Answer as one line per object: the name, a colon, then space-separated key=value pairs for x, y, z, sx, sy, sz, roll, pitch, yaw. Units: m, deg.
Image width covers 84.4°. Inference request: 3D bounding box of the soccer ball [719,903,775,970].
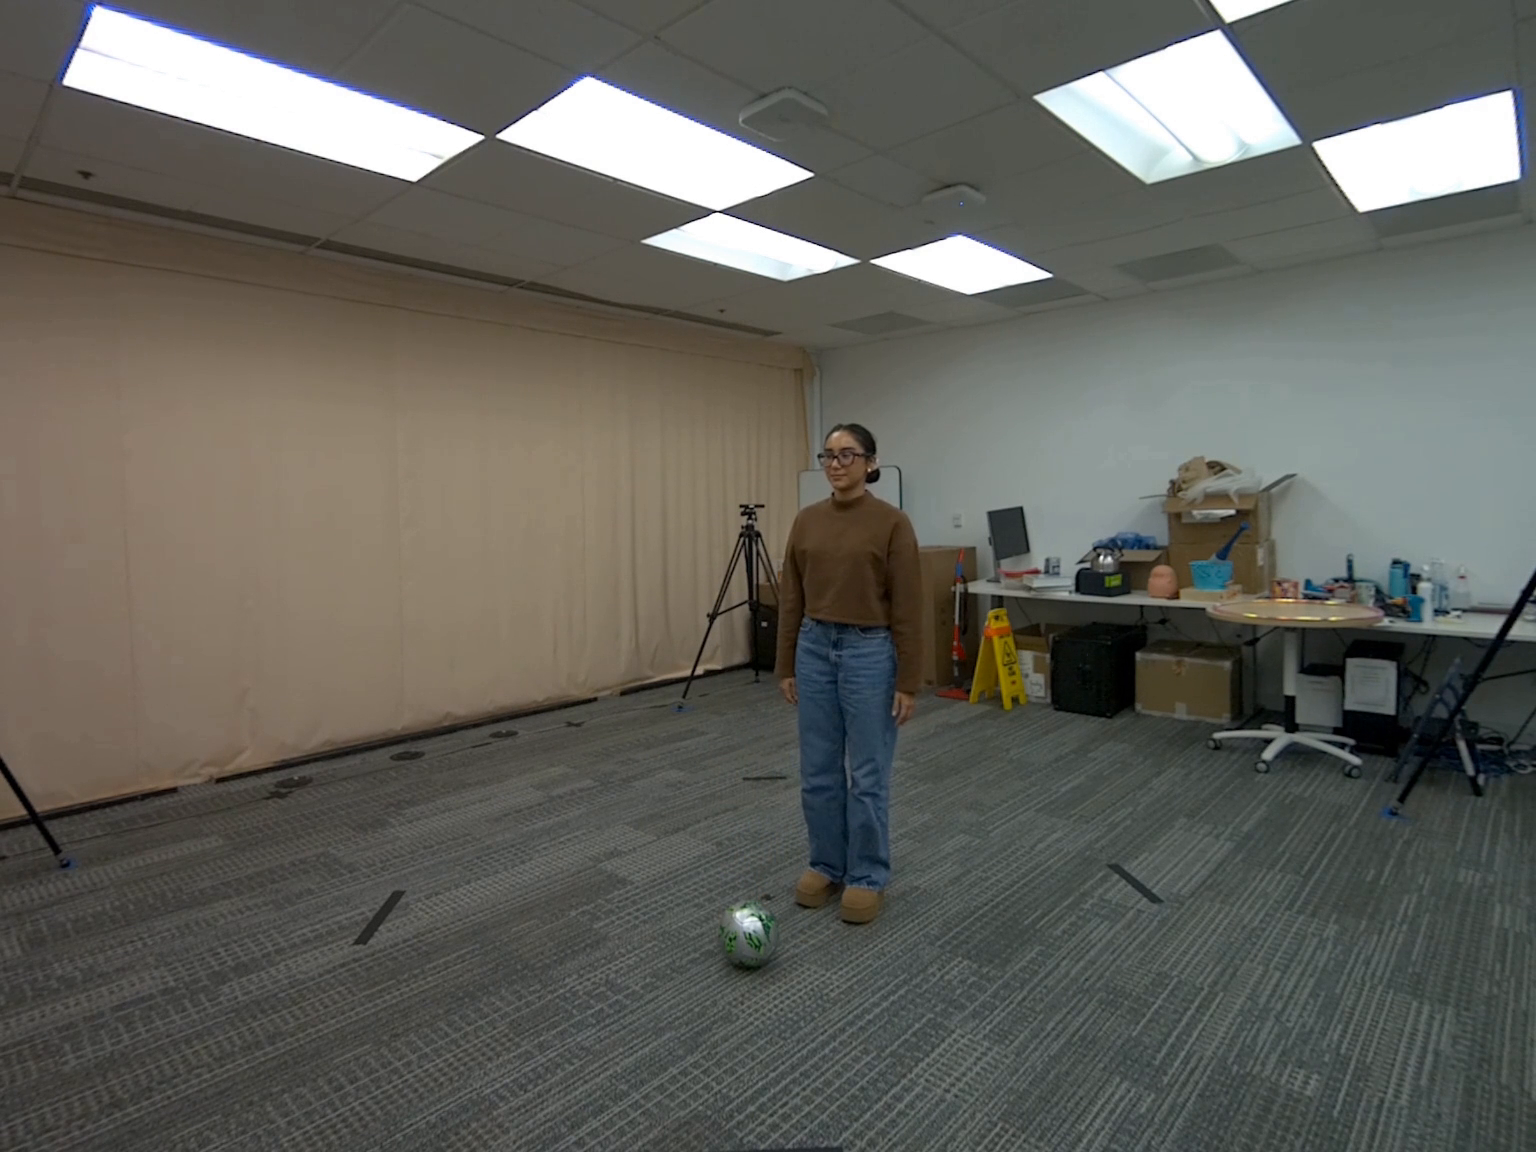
soccer ball: x=-0.053 y=1.086 z=2.551 sx=0.187 sy=0.187 sz=0.188 roll=-1 pitch=4 yaw=-2
